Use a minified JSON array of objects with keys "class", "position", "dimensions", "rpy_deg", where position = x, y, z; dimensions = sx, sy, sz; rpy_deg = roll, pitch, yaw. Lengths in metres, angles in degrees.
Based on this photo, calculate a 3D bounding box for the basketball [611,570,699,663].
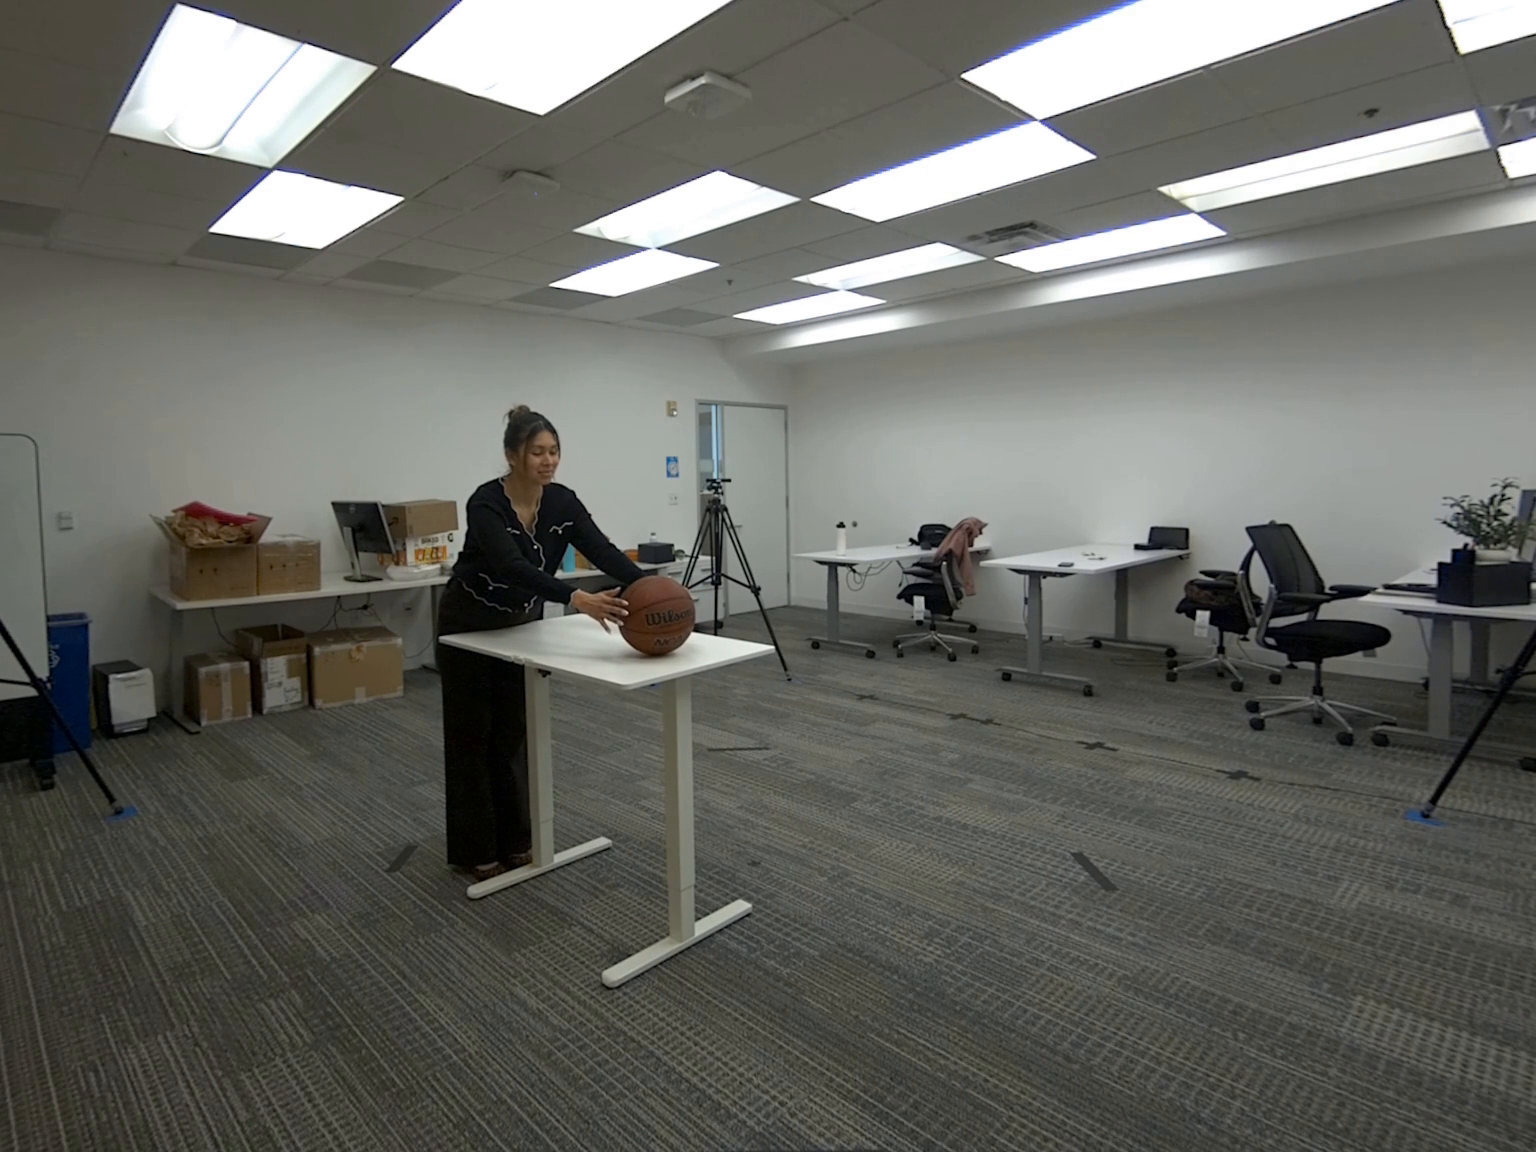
[{"class":"basketball","position":[-0.334,0.113,2.567],"dimensions":[0.236,0.235,0.237],"rpy_deg":[-1,5,-2]}]
